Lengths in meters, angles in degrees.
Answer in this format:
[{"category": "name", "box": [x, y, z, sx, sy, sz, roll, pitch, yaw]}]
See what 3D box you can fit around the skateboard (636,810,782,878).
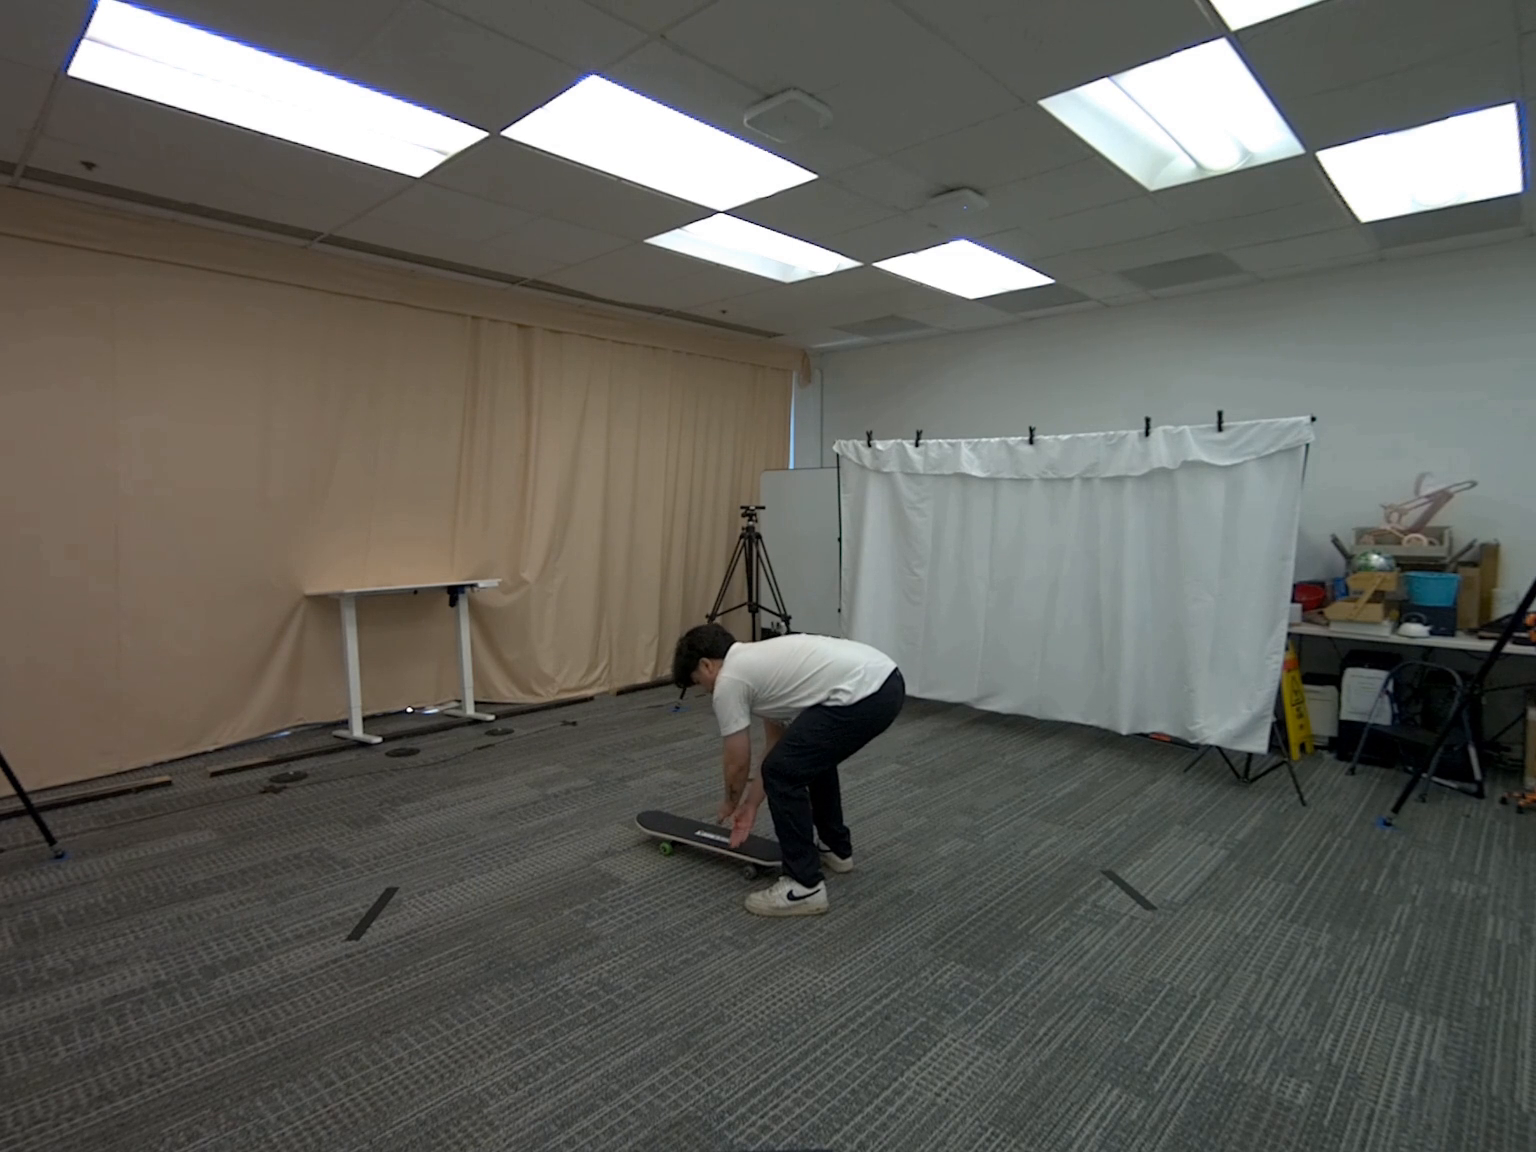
[{"category": "skateboard", "box": [-0.199, 1.061, 3.318, 0.809, 0.110, 0.188, 3, 5, 33]}]
